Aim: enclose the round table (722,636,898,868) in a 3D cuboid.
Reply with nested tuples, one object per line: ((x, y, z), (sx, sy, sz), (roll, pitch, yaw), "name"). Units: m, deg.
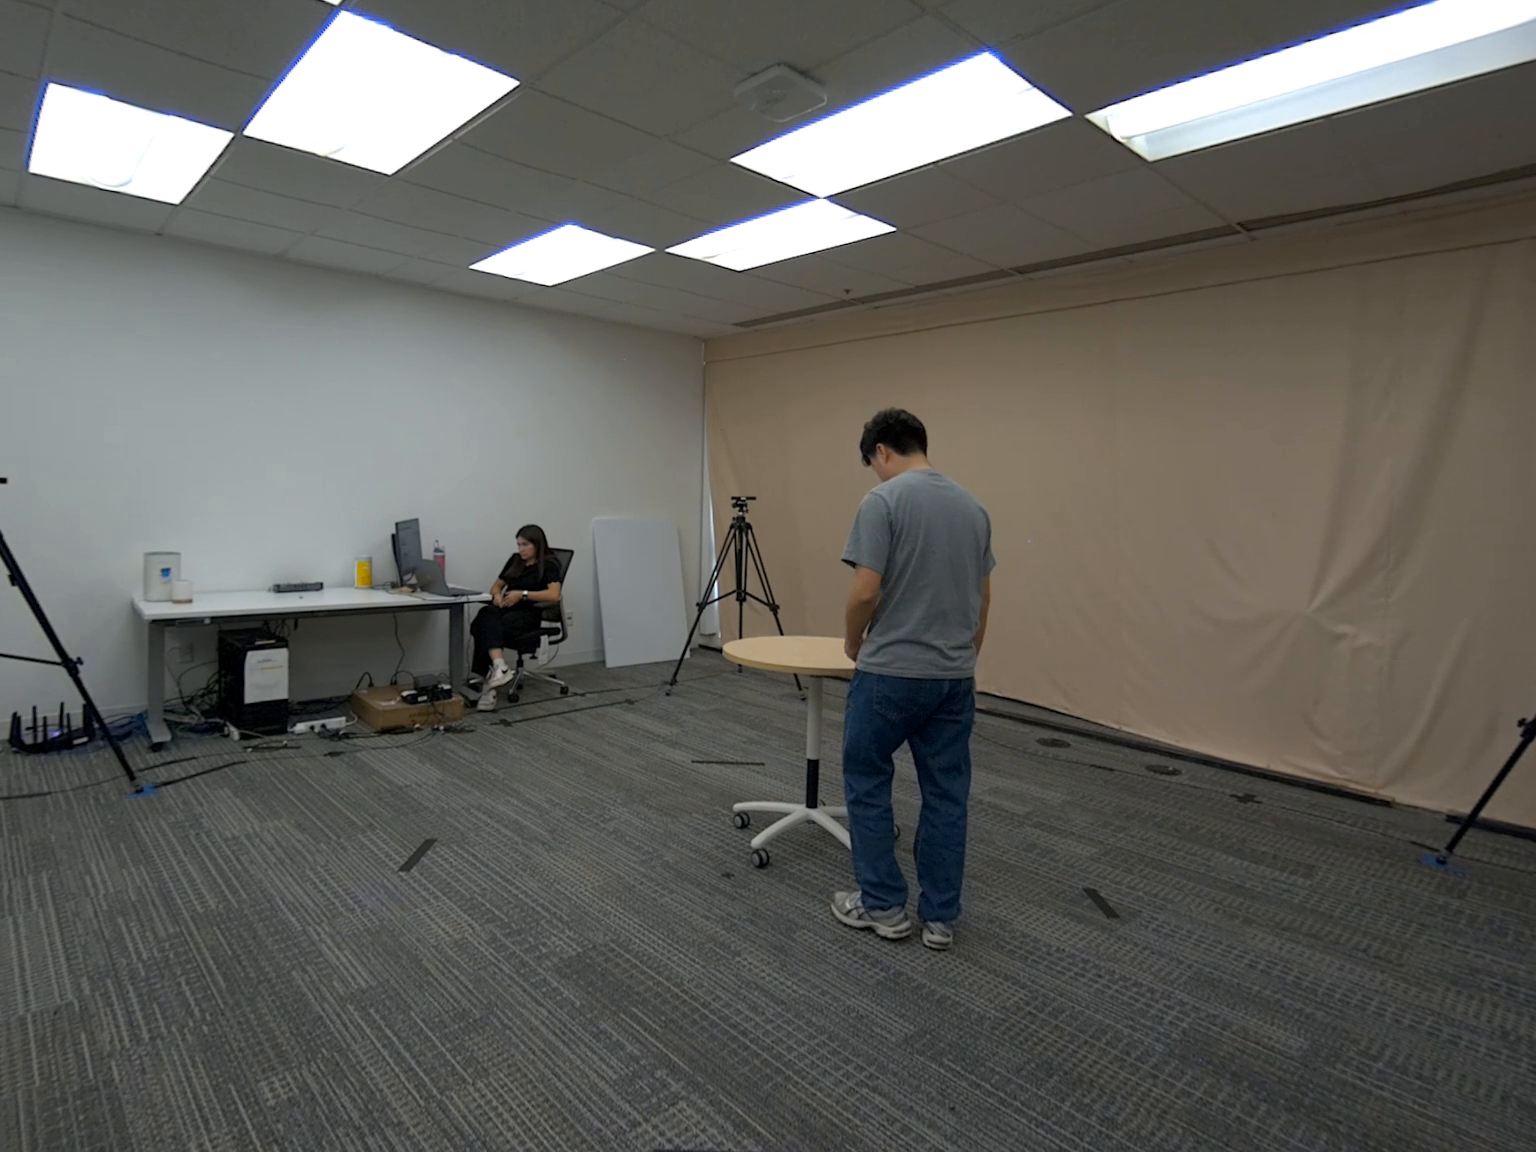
((0.183, 0.697, 3.420), (0.763, 0.792, 0.766), (2, 3, -1), "round table")
